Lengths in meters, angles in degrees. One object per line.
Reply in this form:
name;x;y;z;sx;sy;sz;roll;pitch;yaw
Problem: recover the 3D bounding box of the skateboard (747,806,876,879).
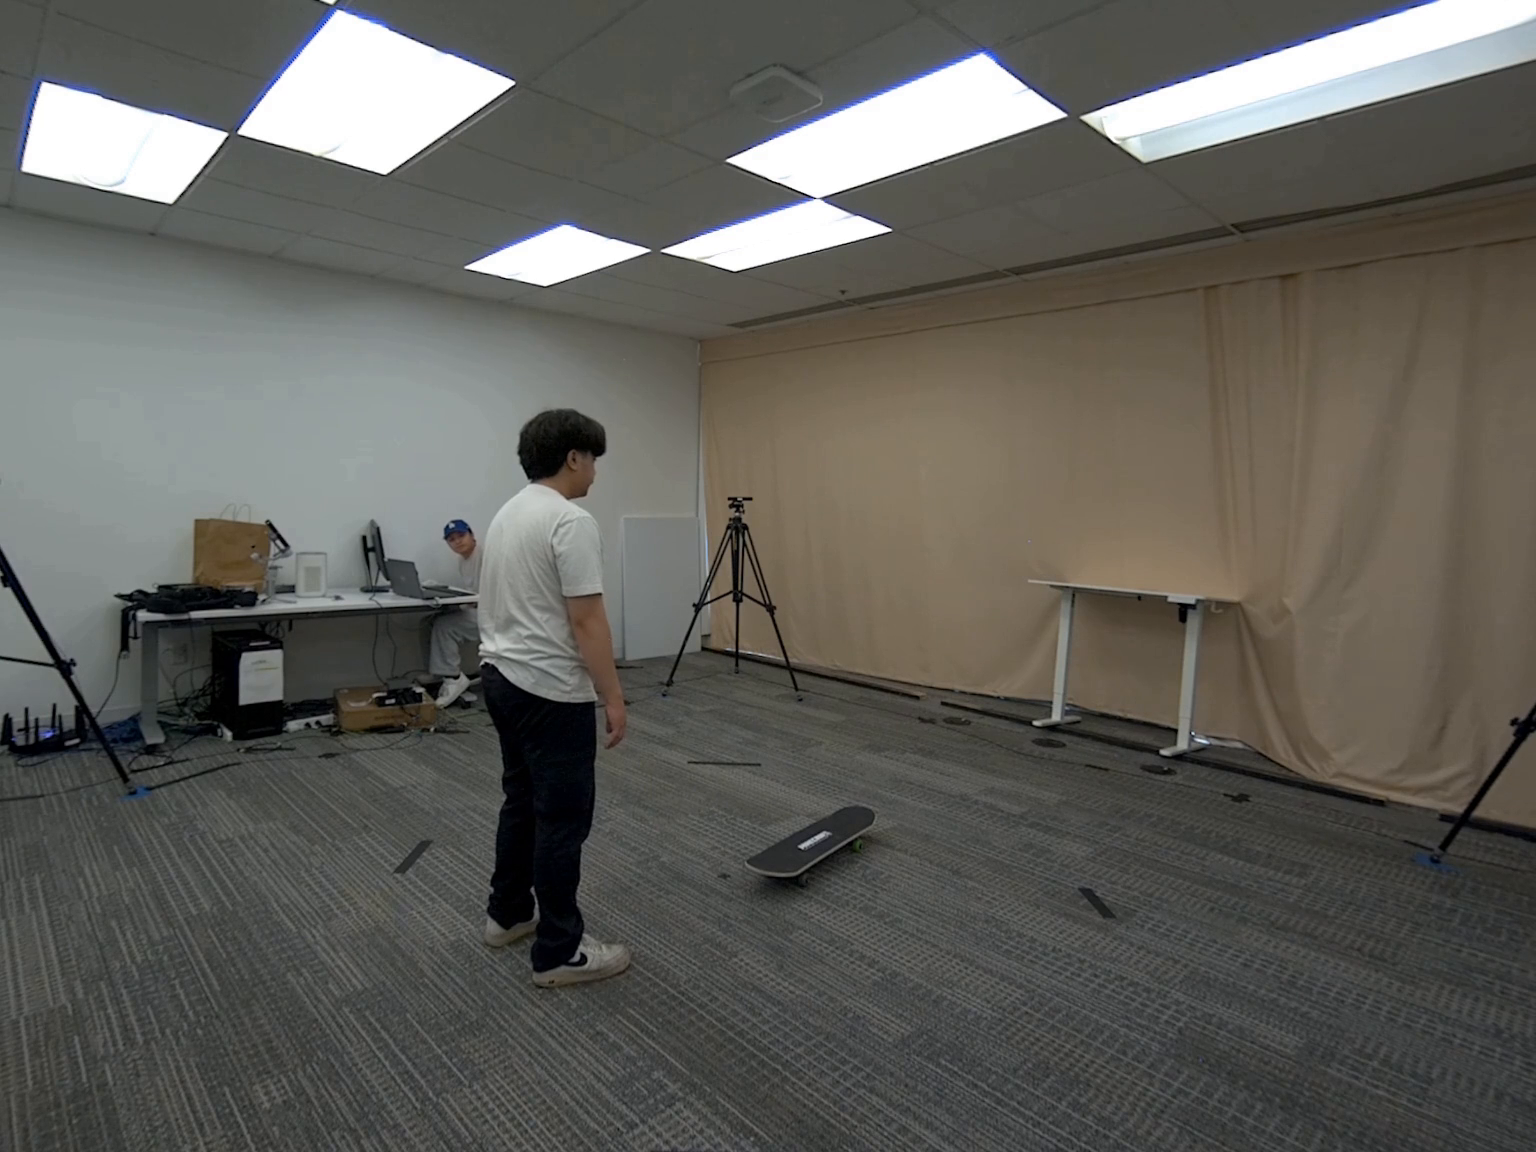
skateboard;0.175;1.045;3.234;0.198;0.110;0.769;4;6;35
